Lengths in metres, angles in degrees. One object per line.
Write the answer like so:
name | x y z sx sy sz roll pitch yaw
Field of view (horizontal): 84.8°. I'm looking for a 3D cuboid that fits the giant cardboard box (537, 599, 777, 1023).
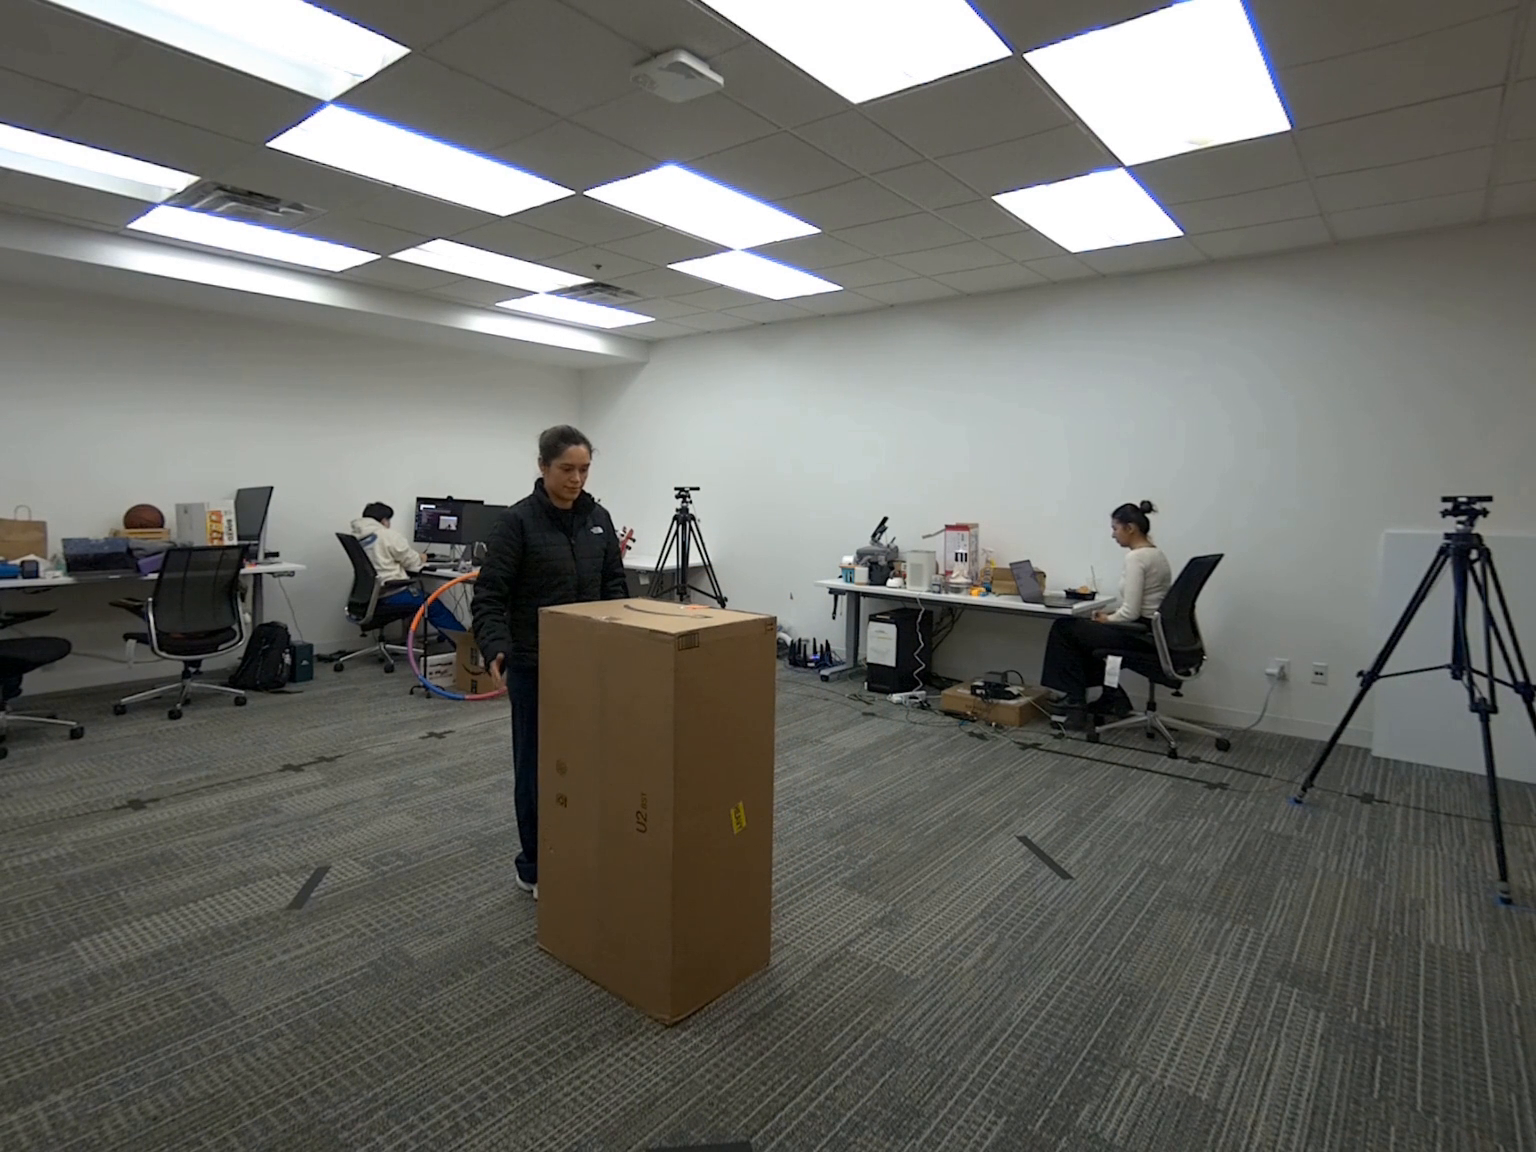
giant cardboard box | -0.322 0.614 2.516 0.597 1.023 0.413 4 4 41
